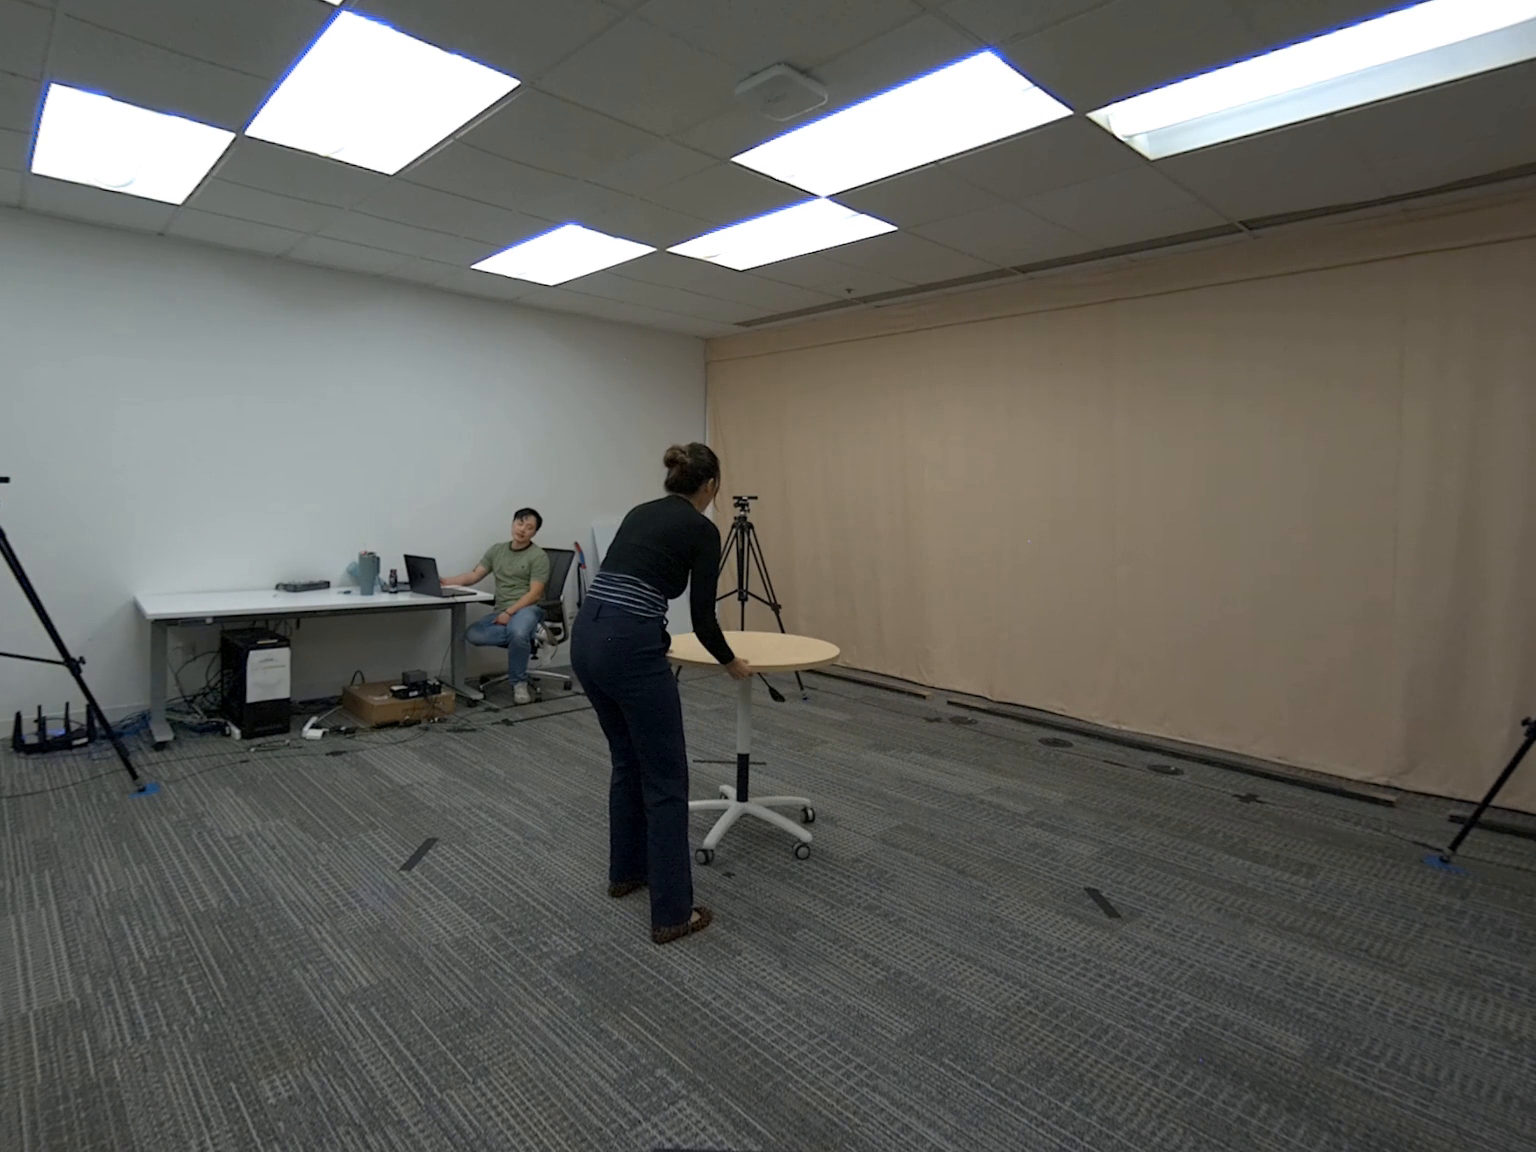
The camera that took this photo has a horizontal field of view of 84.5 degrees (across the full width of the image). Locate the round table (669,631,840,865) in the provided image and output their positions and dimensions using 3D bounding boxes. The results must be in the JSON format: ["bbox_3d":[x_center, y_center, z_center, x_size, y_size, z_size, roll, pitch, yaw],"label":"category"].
[{"bbox_3d":[-0.105,0.683,3.457,0.763,0.792,0.766,2,4,-1],"label":"round table"}]
